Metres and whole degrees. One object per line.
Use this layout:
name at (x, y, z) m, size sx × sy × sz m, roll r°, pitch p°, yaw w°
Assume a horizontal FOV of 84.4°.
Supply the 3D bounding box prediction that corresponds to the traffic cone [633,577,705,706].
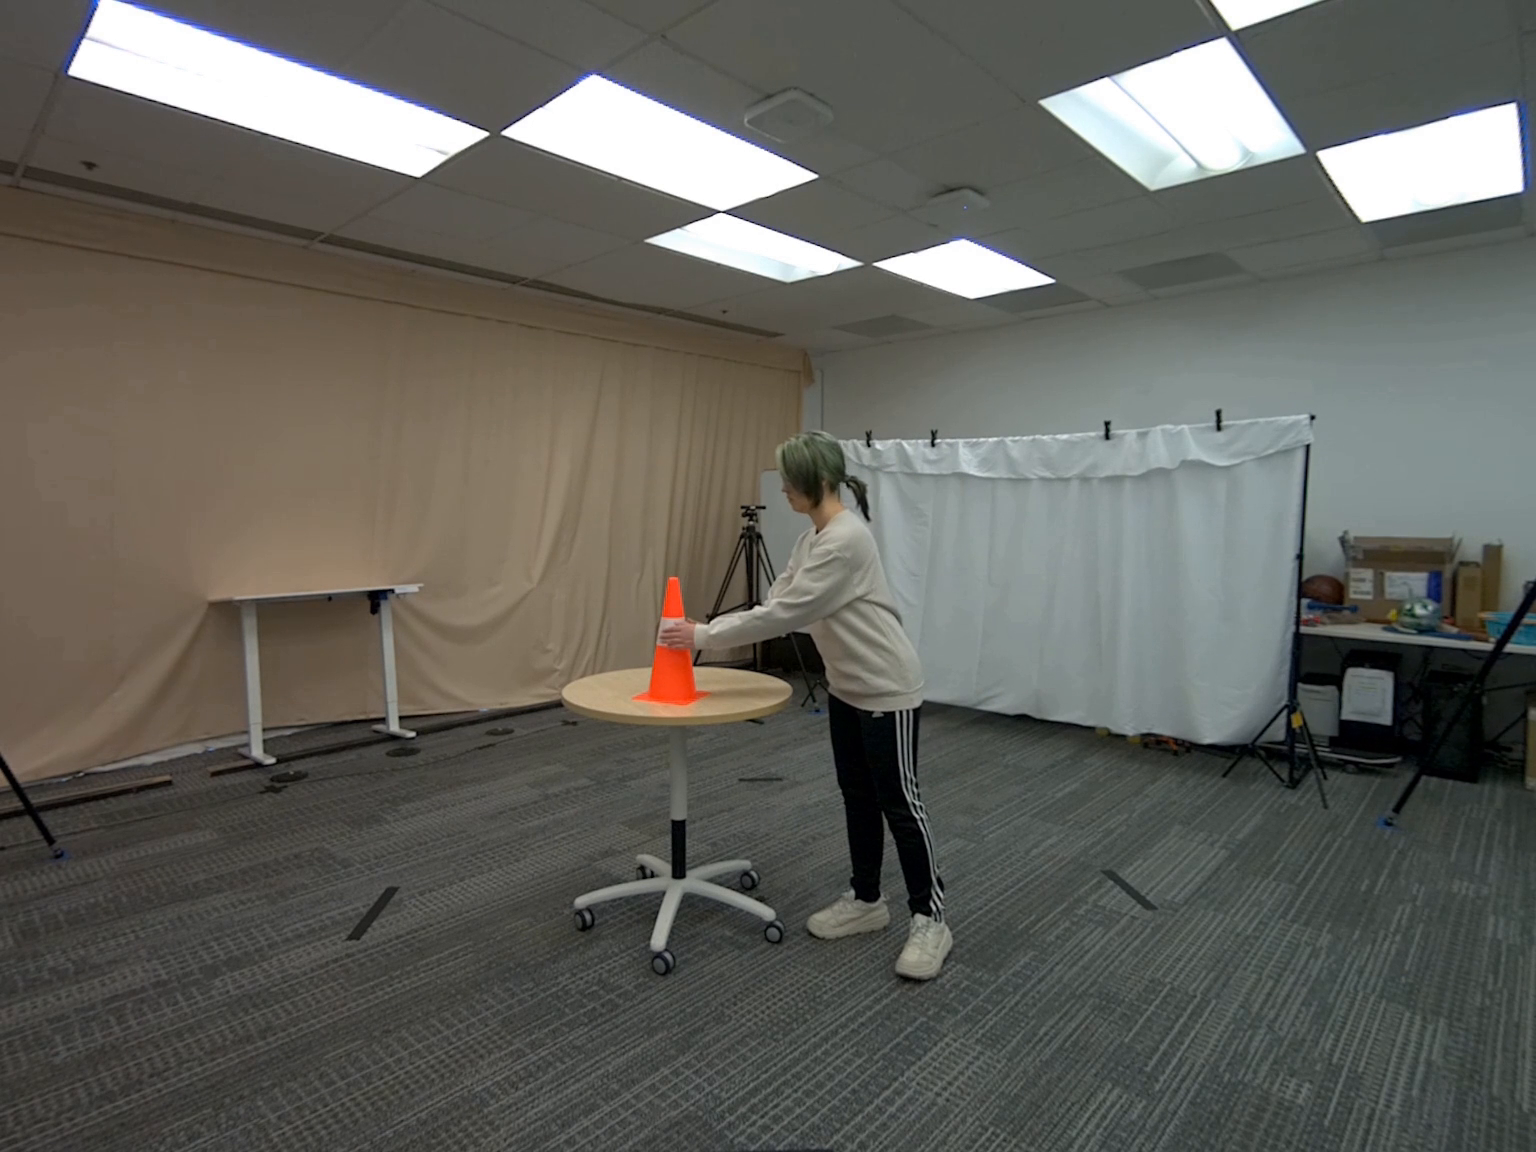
traffic cone at (-0.305, 0.202, 2.700) m, size 0.210 × 0.383 × 0.198 m, roll 1°, pitch 3°, yaw 25°
